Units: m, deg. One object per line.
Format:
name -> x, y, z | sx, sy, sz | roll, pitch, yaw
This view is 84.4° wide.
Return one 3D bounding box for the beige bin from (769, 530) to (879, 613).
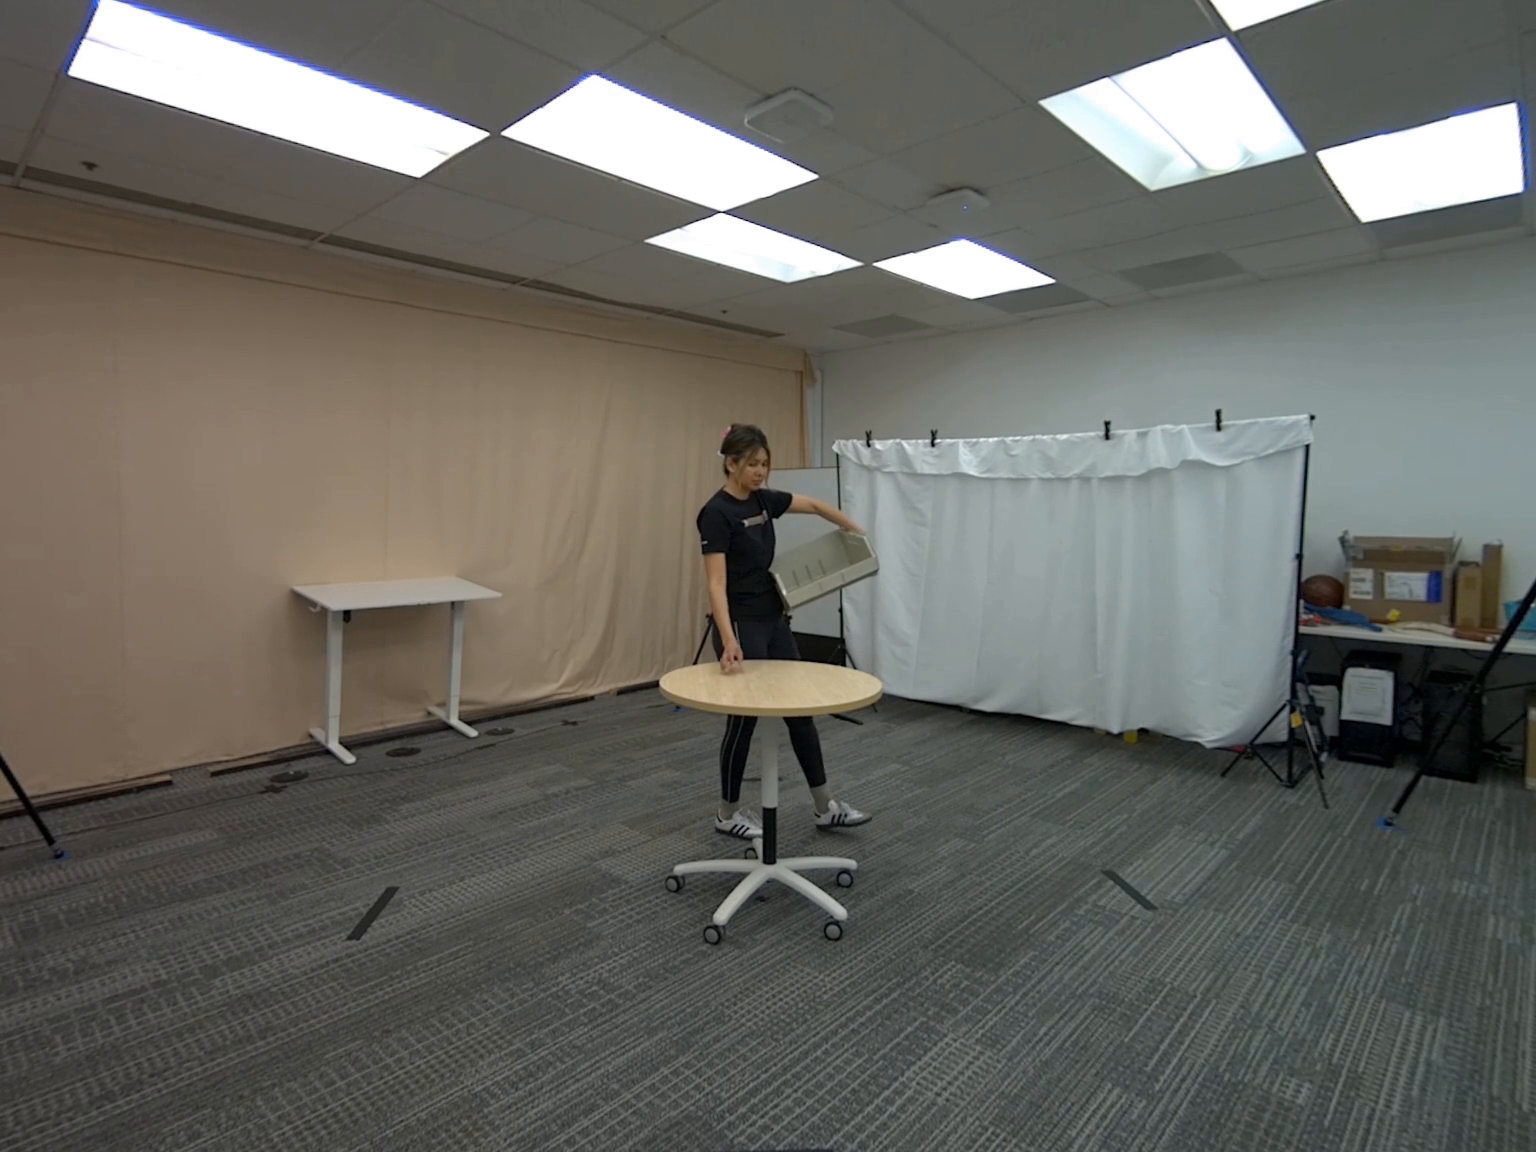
beige bin -> 0.214, -0.026, 3.552 | 0.420, 0.187, 0.383 | -23, 11, -8
